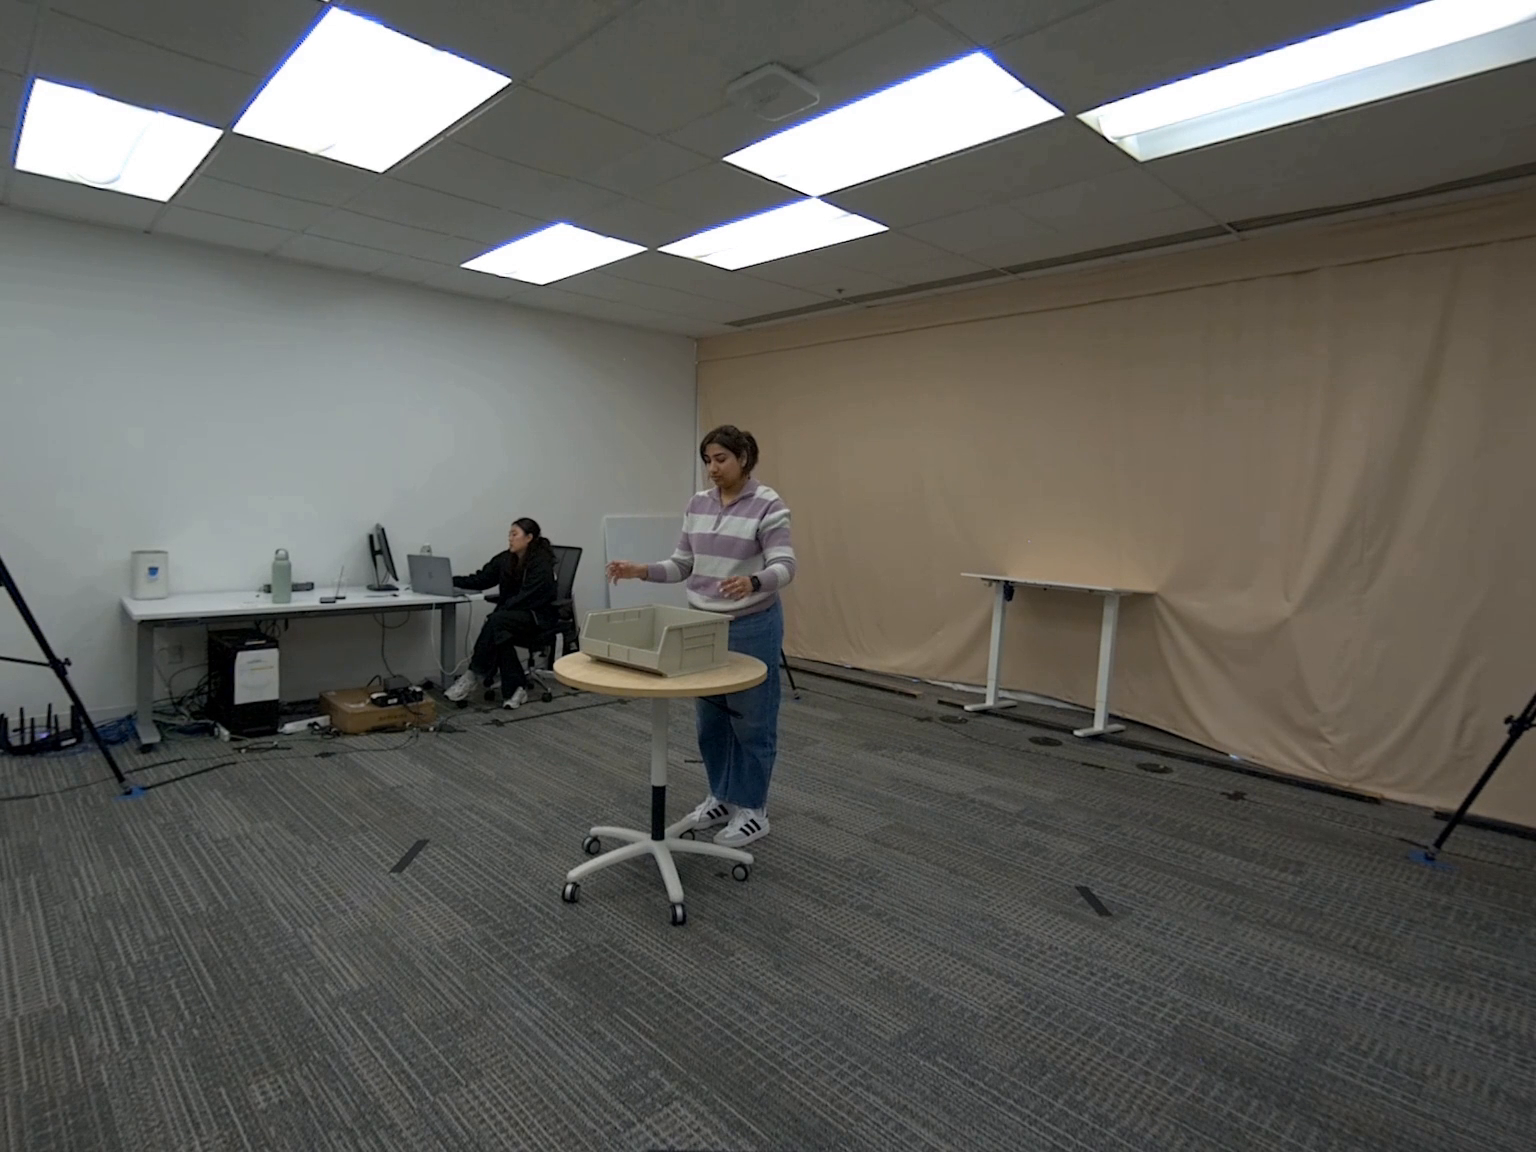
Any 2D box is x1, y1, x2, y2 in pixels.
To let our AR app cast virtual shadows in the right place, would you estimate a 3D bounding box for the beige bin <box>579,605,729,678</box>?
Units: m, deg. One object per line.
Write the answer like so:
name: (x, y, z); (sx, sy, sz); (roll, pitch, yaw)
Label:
beige bin: (-0.407, 0.227, 3.052); (0.433, 0.188, 0.369); (5, 4, 39)
